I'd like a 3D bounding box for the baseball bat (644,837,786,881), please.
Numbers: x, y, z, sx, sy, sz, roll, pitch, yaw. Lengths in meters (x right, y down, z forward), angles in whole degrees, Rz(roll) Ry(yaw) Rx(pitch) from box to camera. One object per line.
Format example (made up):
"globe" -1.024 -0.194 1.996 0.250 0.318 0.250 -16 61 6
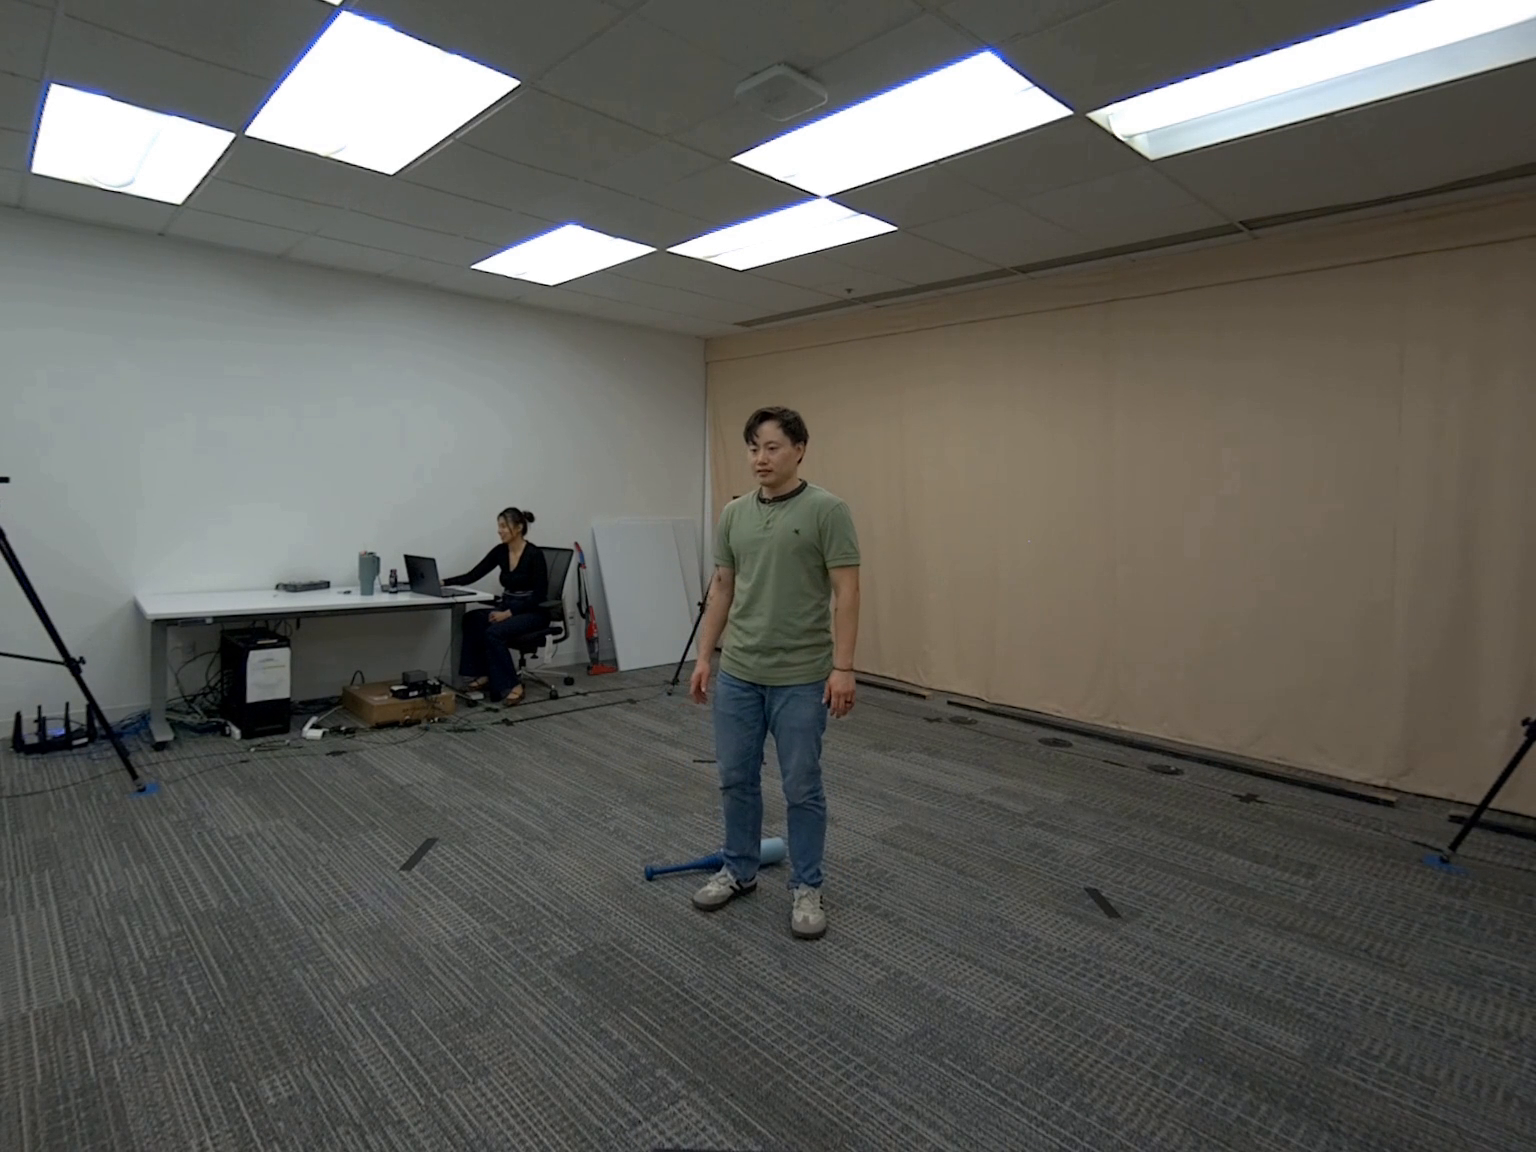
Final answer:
"baseball bat" -0.194 1.062 3.125 0.537 0.089 0.090 -6 6 -16
